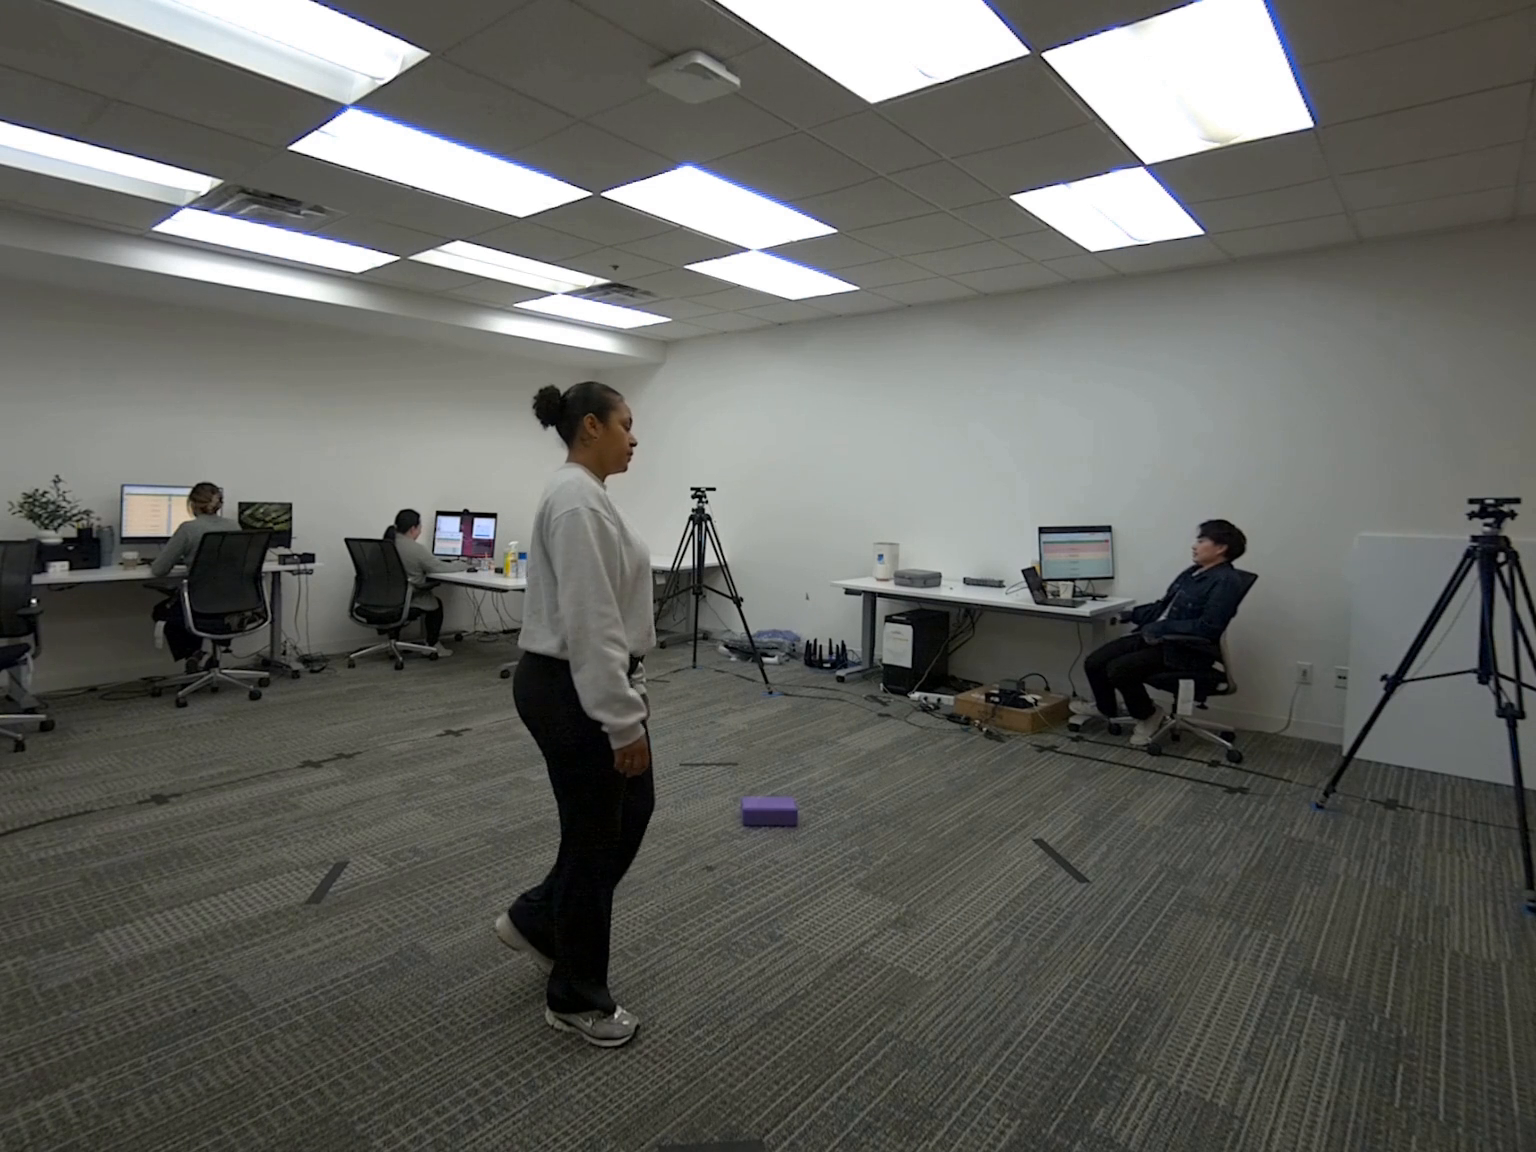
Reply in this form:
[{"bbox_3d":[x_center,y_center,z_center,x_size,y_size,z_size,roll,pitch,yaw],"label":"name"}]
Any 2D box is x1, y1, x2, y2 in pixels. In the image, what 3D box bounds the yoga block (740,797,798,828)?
[{"bbox_3d":[-0.006,0.983,3.577,0.229,0.076,0.150,1,7,-2],"label":"yoga block"}]
